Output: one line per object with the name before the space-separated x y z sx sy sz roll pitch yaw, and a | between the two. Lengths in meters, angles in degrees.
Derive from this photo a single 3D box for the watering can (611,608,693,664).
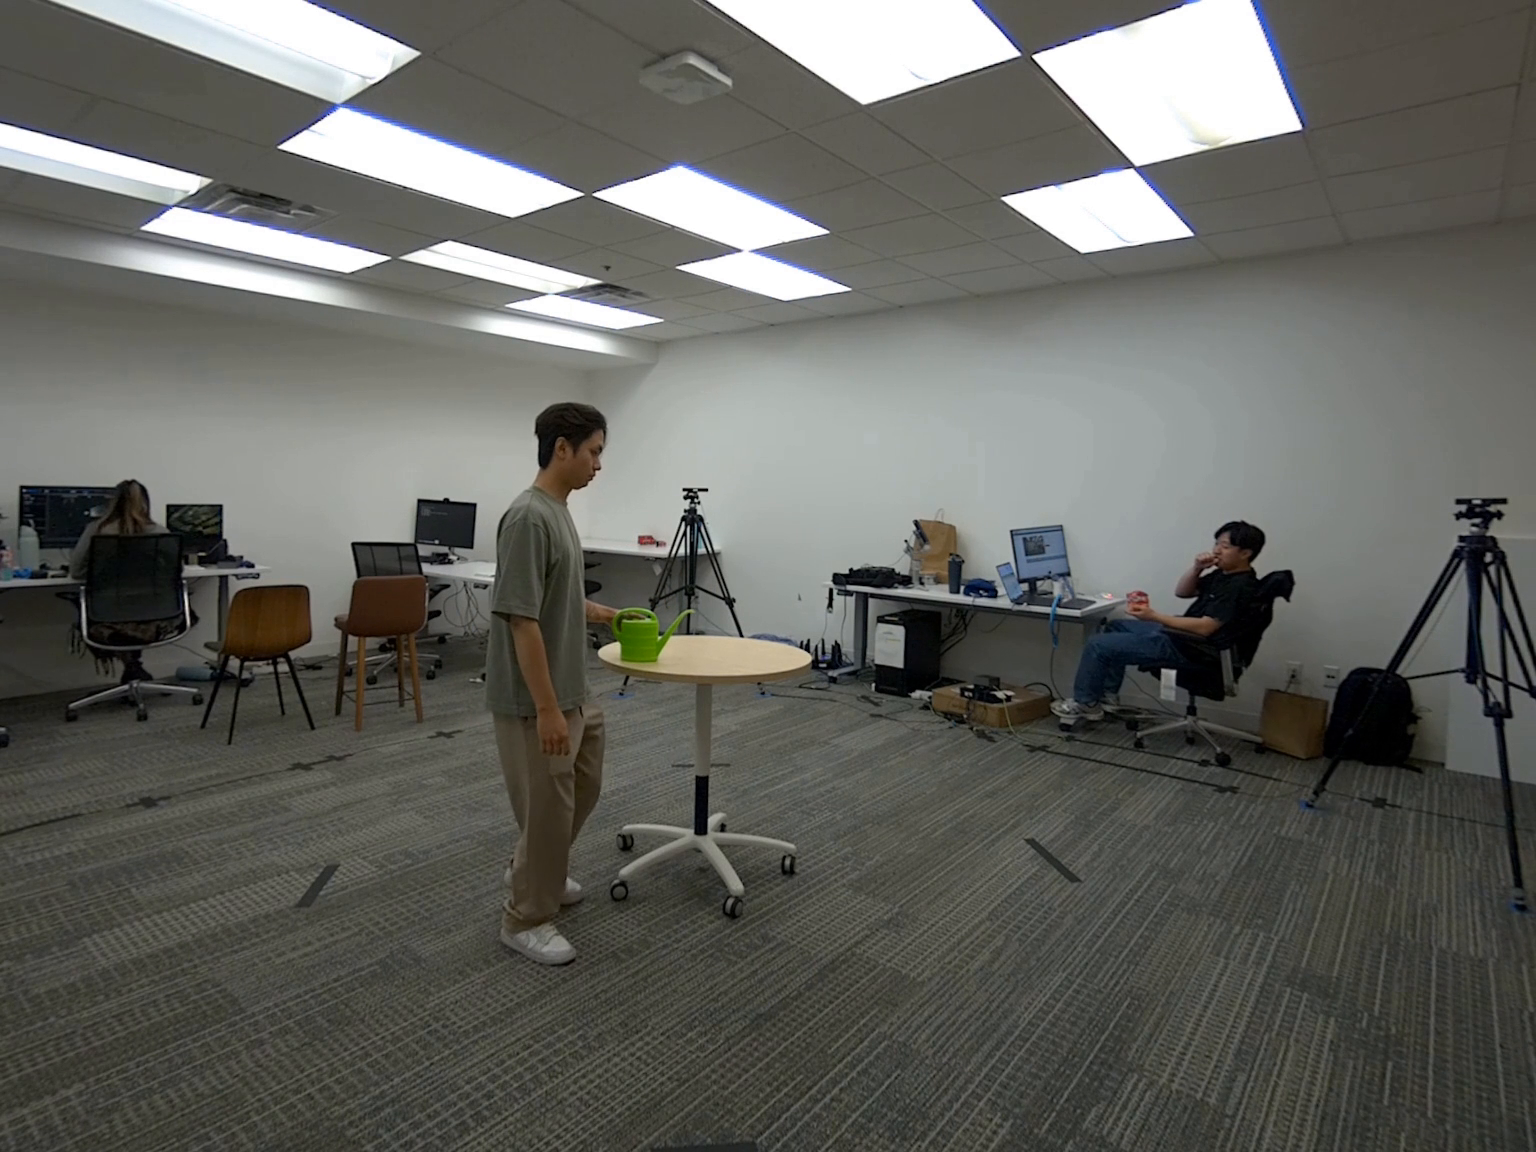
watering can | -0.404 0.201 2.893 0.282 0.176 0.097 2 6 14
